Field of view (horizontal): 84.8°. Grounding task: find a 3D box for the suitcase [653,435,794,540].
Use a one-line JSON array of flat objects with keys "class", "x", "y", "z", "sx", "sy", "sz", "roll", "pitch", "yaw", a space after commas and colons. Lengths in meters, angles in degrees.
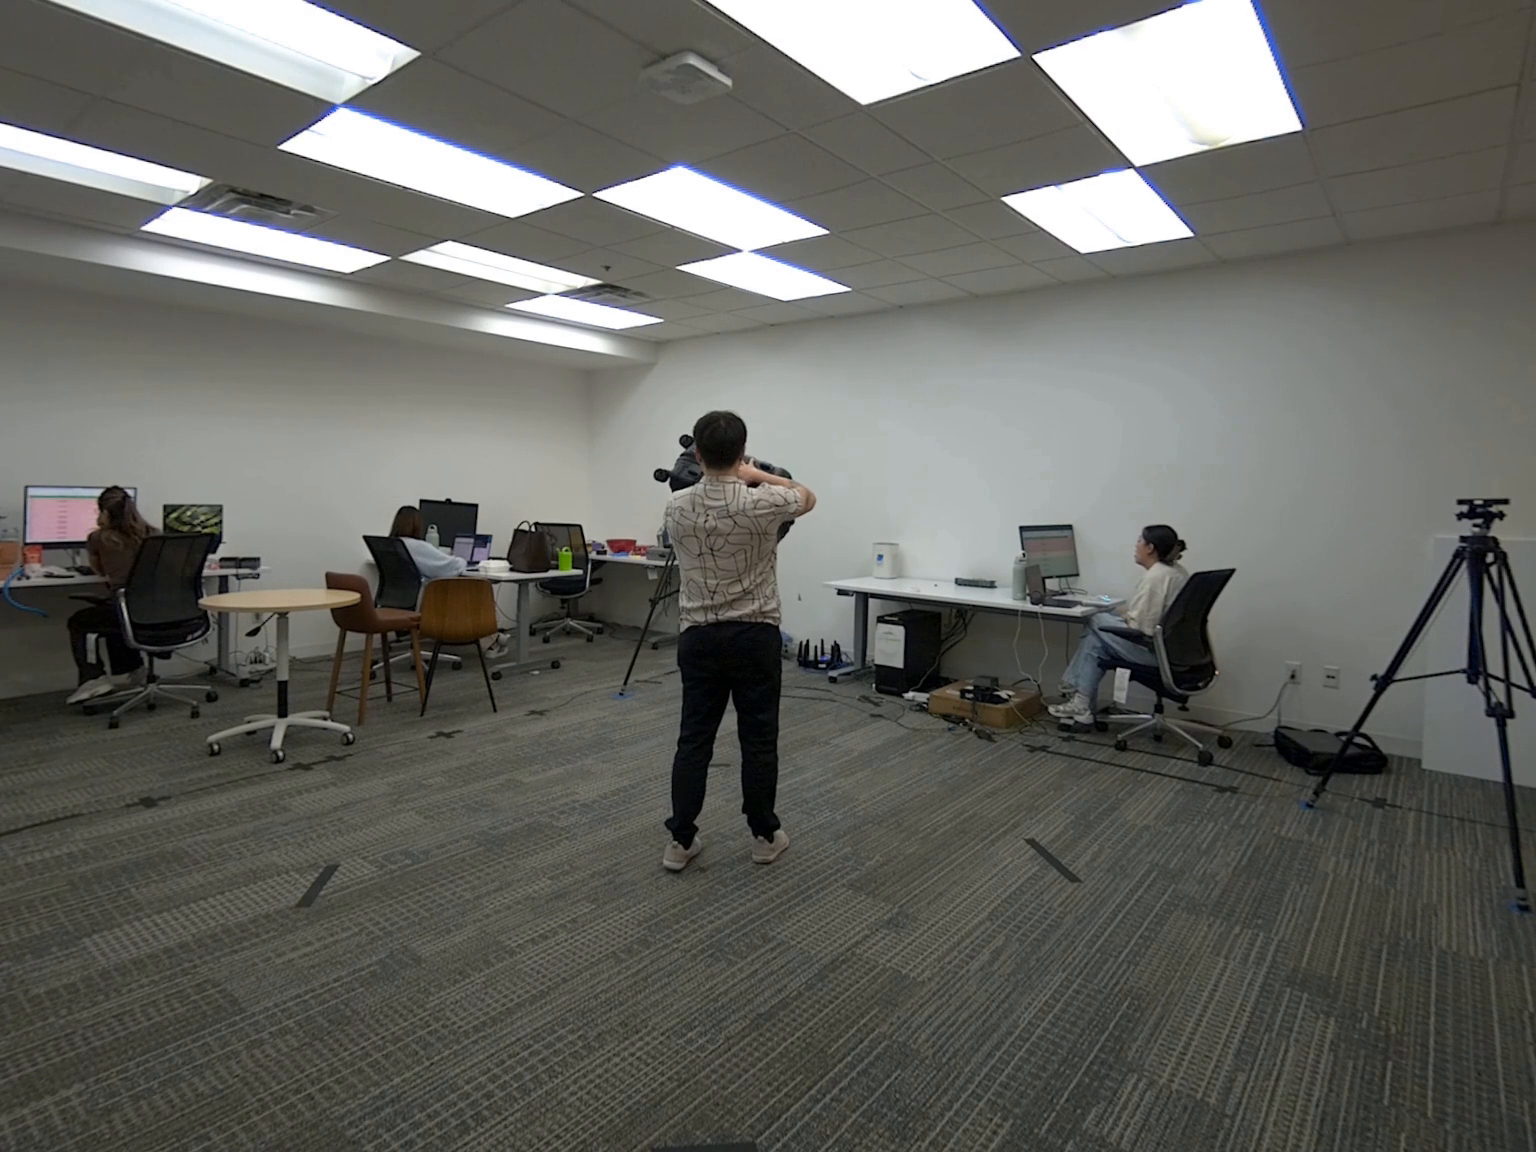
[{"class": "suitcase", "x": -0.169, "y": -0.346, "z": 3.621, "sx": 0.564, "sy": 0.250, "sz": 0.363, "roll": 22, "pitch": -29, "yaw": 21}]
